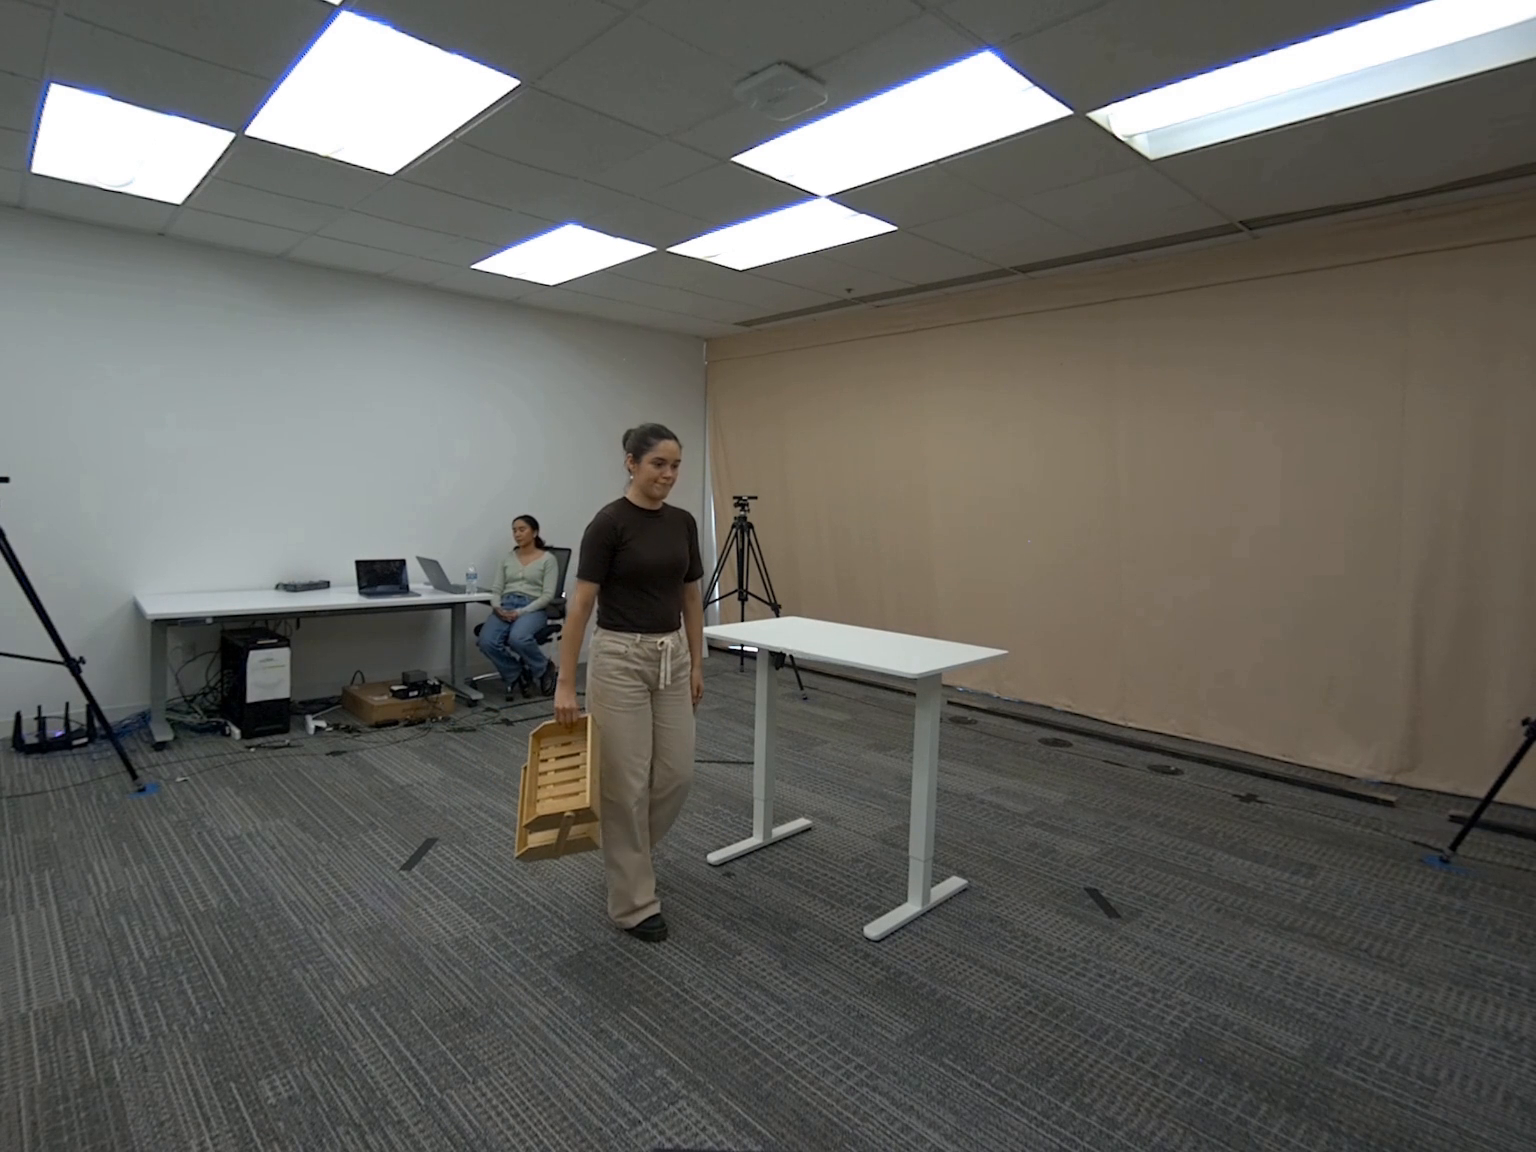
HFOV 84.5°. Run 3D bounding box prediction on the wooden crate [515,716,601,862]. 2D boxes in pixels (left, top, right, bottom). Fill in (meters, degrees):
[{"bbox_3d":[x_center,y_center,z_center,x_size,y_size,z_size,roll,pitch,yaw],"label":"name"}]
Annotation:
[{"bbox_3d":[-0.647,0.636,2.498,0.302,0.266,0.333,-13,47,3],"label":"wooden crate"}]
